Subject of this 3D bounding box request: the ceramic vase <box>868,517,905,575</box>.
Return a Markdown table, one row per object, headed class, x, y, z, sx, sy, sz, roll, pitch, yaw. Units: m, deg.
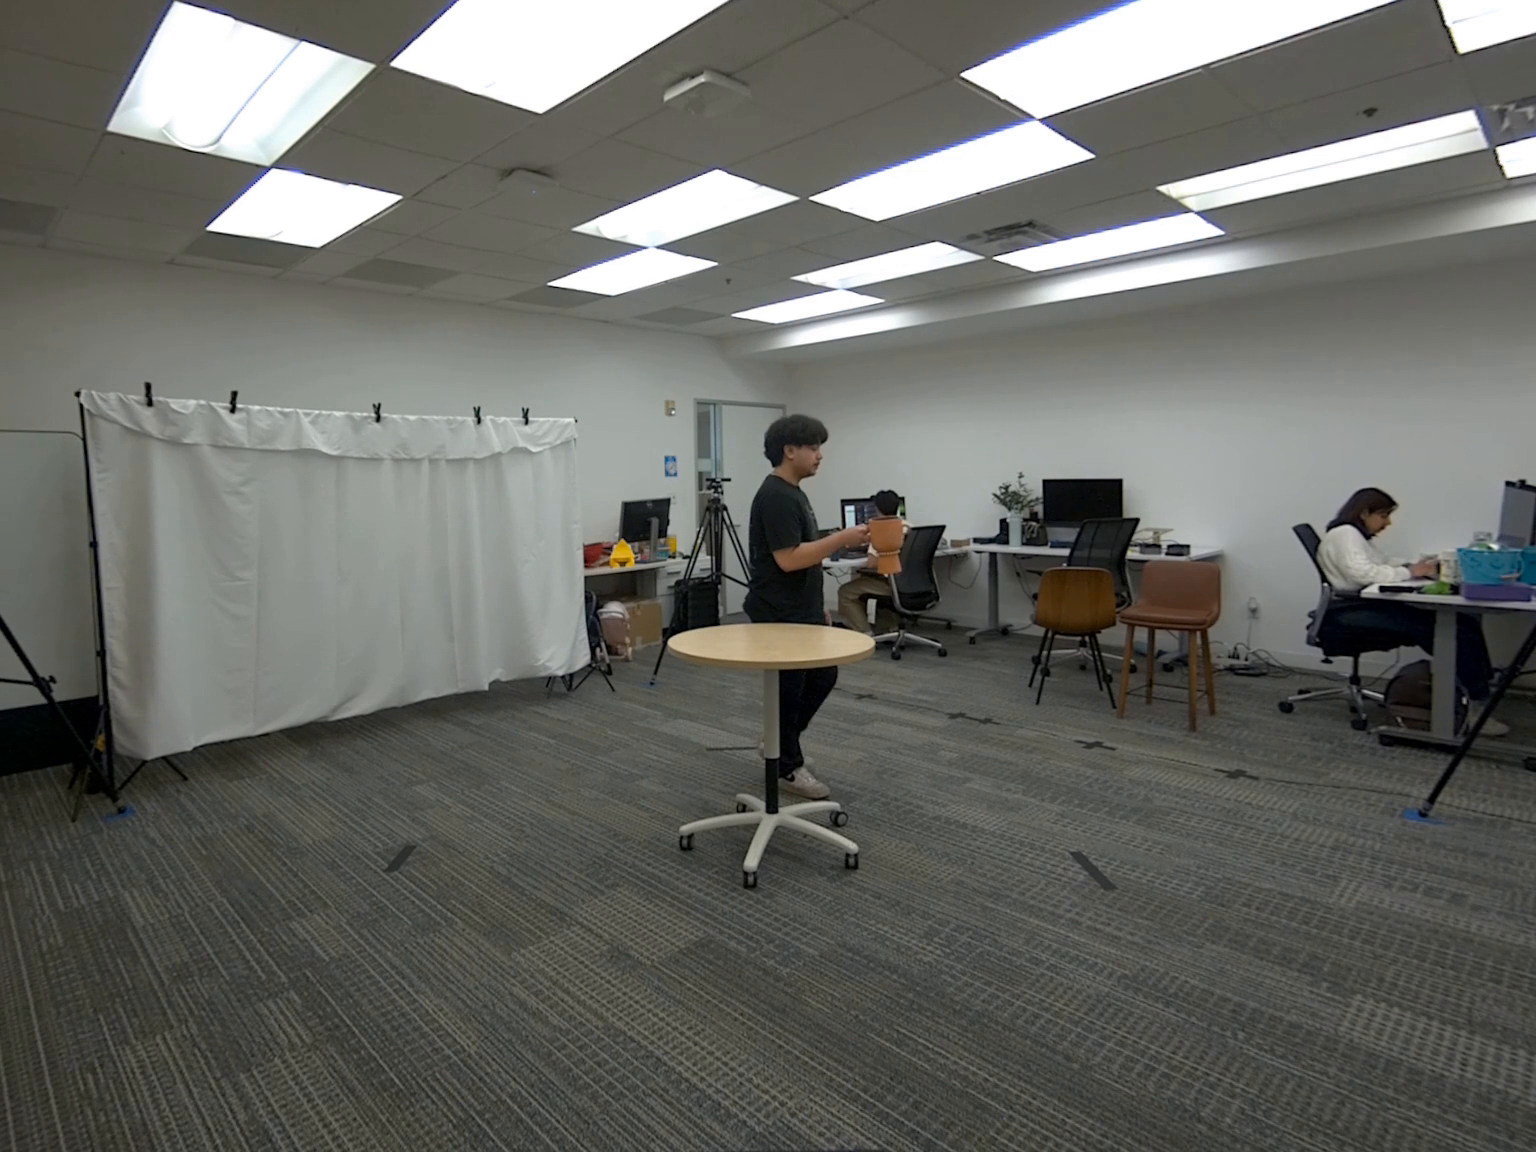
| class | x | y | z | sx | sy | sz | roll | pitch | yaw |
| --- | --- | --- | --- | --- | --- | --- | --- | --- | --- |
| ceramic vase | 0.477 | -0.125 | 3.483 | 0.132 | 0.217 | 0.164 | -12 | 14 | -34 |
